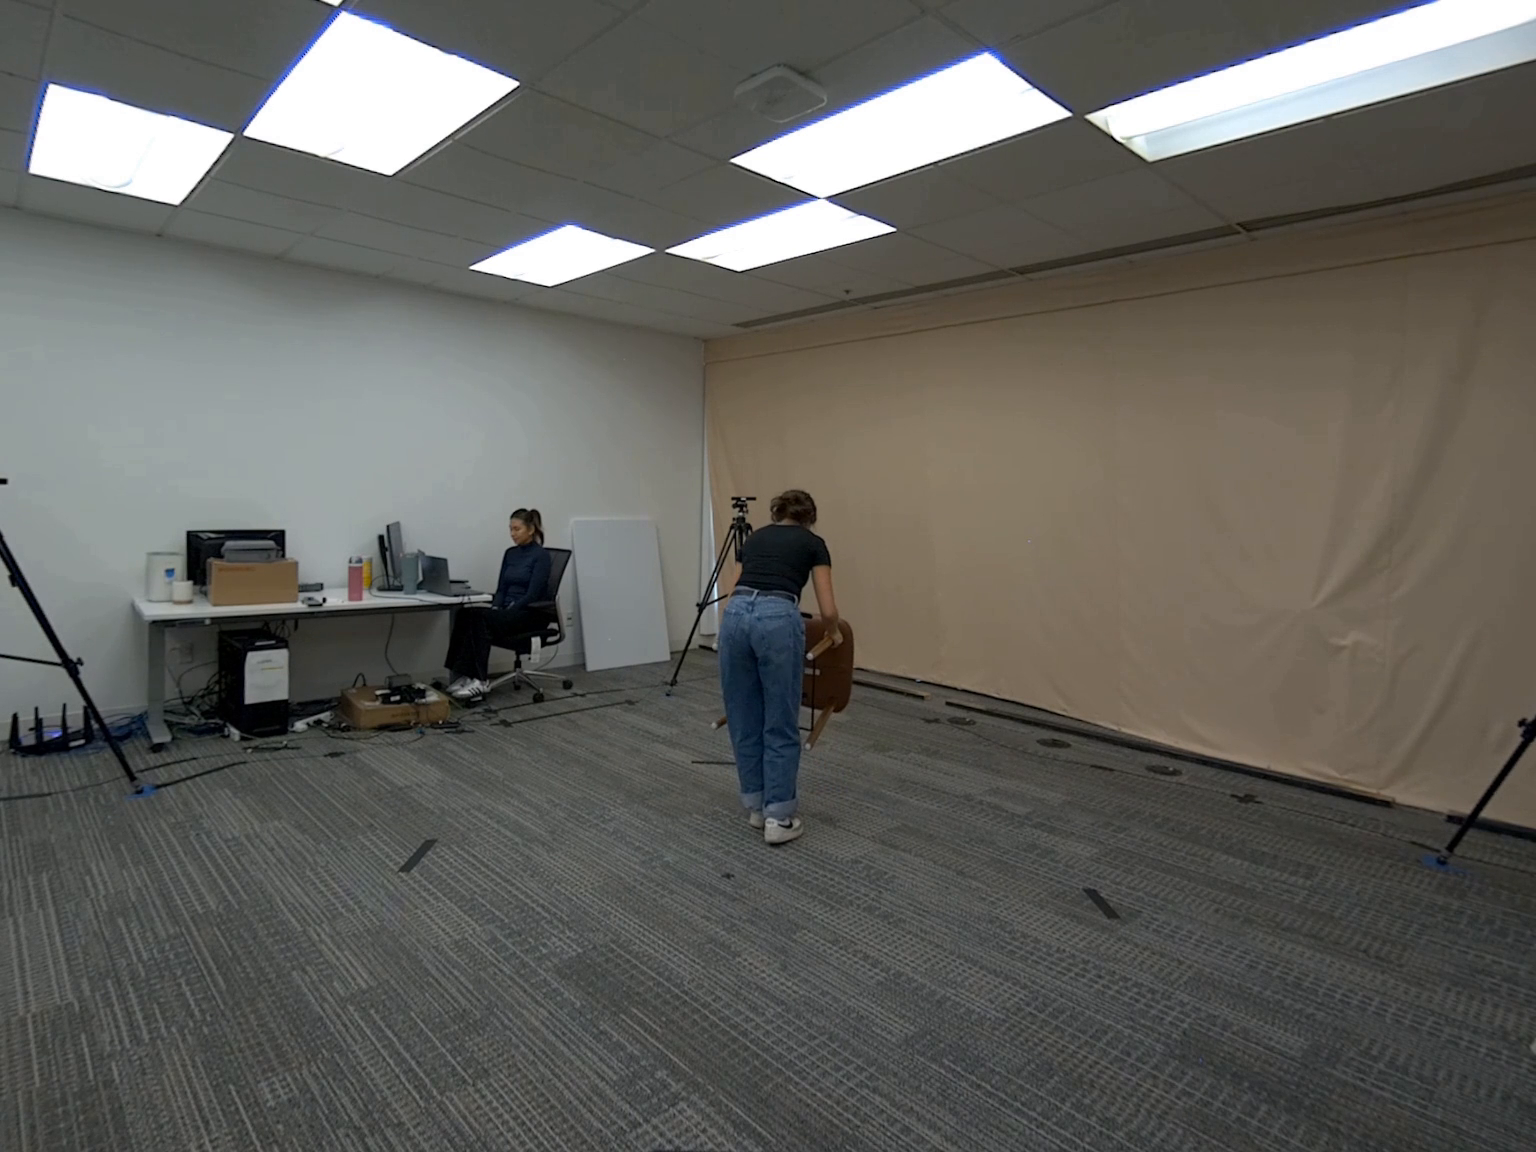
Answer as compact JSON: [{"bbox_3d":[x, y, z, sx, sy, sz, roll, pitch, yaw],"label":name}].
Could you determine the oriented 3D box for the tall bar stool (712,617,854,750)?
[{"bbox_3d":[0.125,0.429,3.880,0.476,0.454,0.880,4,10,21],"label":"tall bar stool"}]
